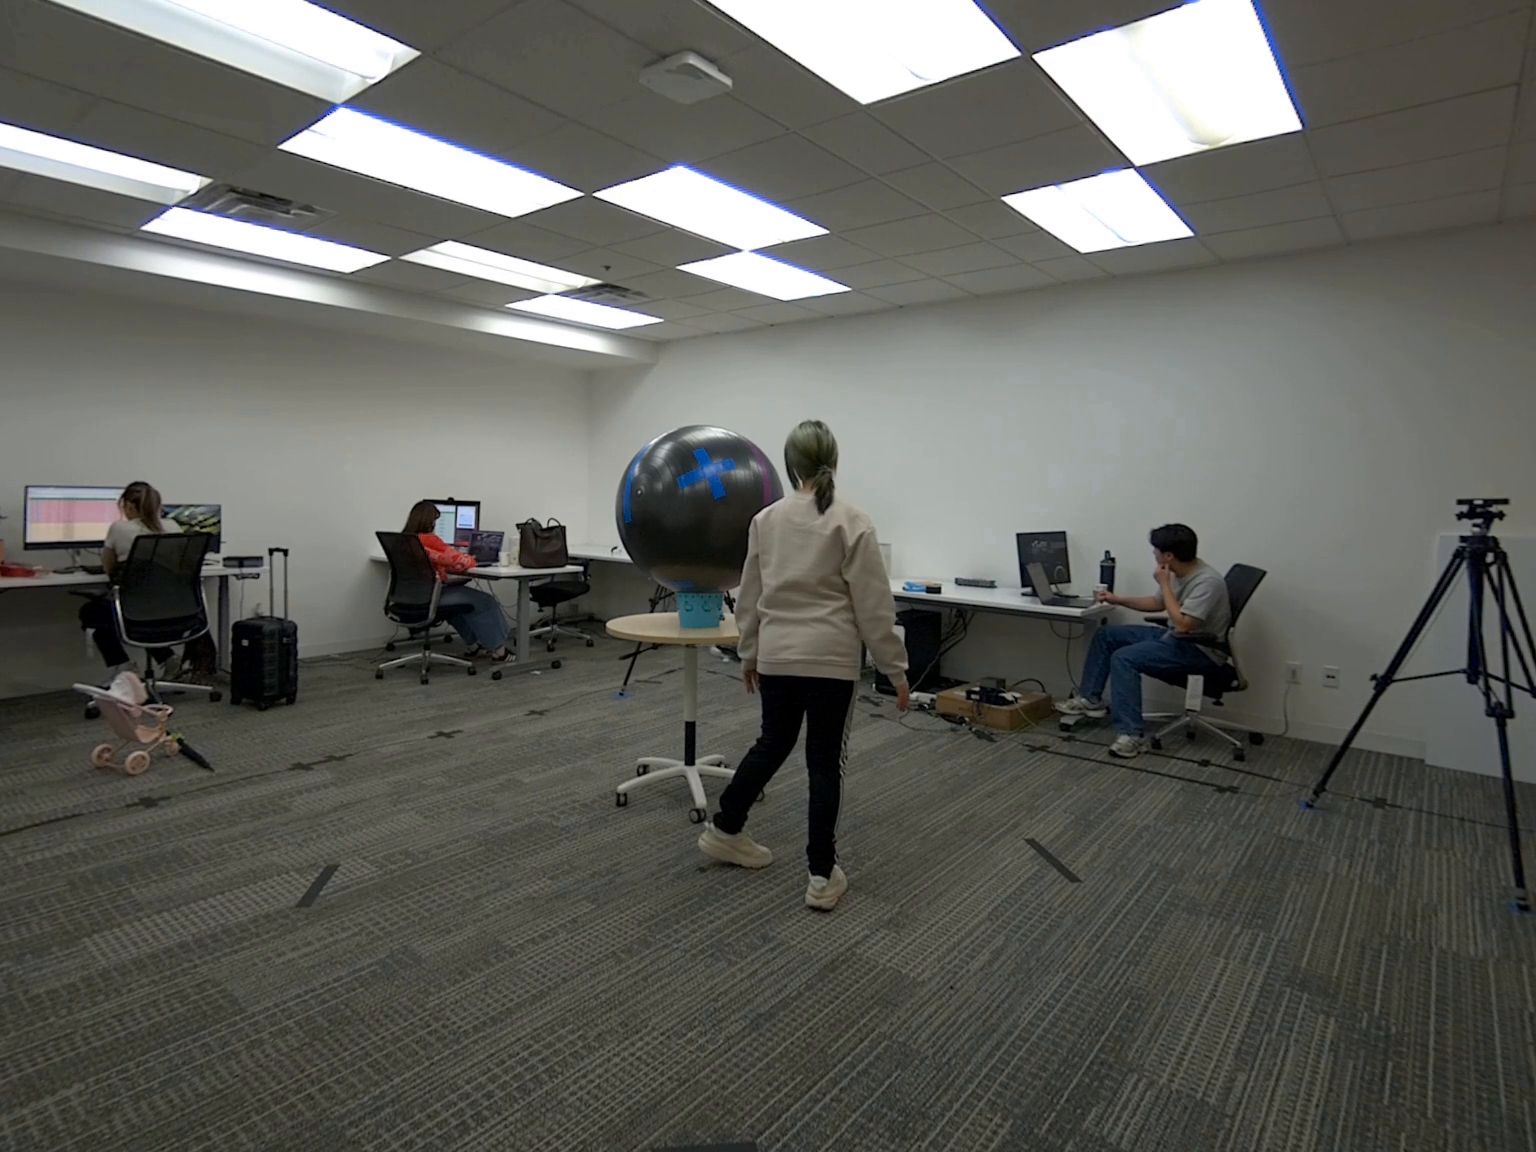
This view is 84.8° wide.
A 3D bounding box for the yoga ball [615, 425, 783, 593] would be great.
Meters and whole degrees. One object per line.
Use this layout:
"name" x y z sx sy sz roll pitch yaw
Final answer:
"yoga ball" -0.313 -0.294 3.801 0.757 0.756 0.762 1 4 -2
